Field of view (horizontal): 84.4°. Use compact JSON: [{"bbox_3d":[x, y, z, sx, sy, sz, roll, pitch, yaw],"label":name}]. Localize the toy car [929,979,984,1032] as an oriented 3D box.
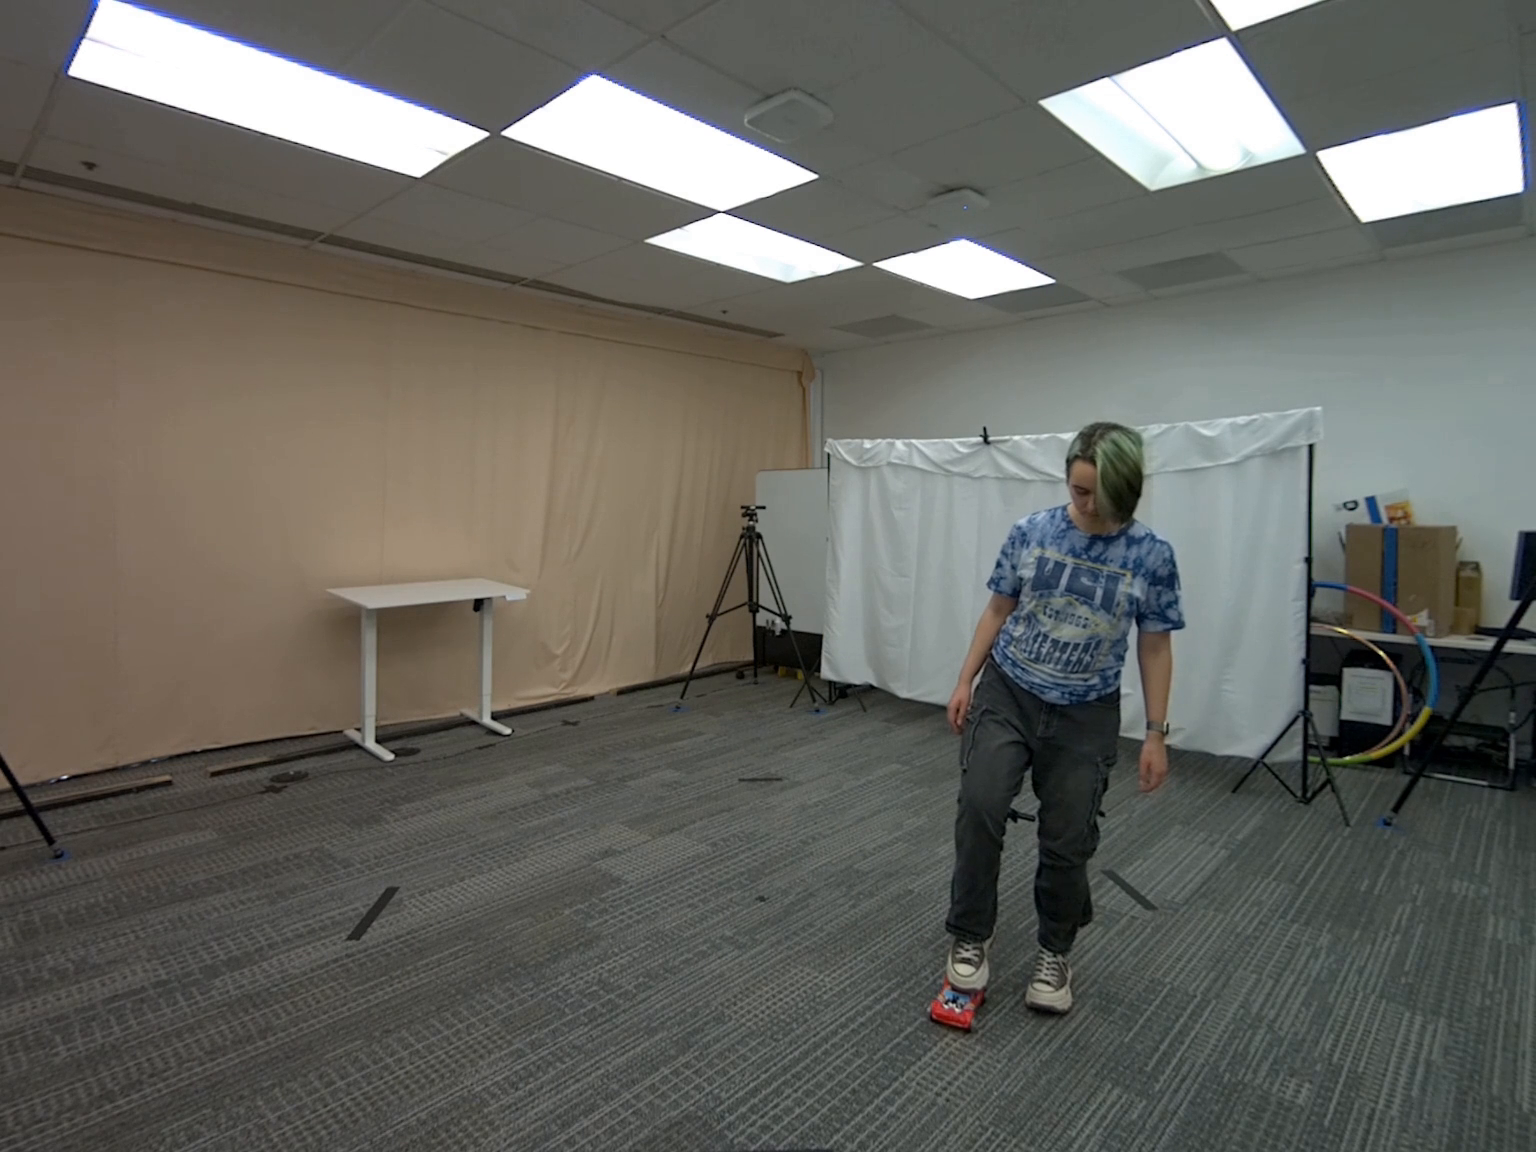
[{"bbox_3d":[0.545,1.173,2.331,0.134,0.082,0.250,2,15,28],"label":"toy car"}]
